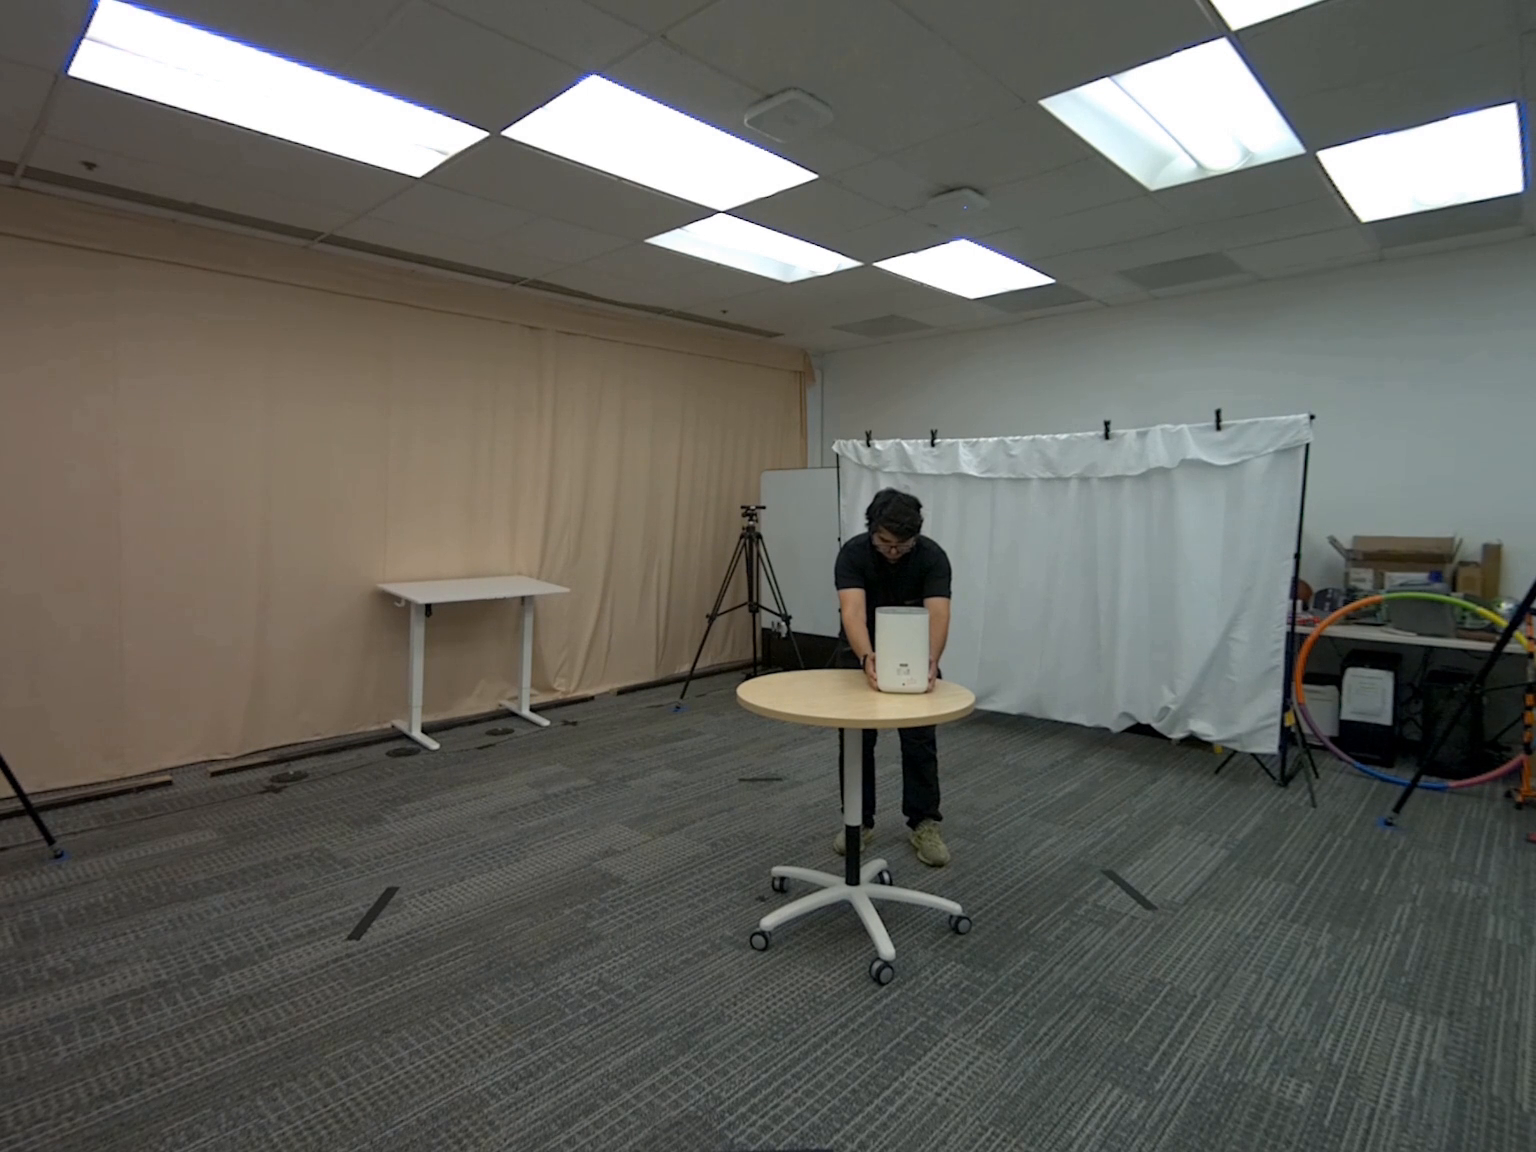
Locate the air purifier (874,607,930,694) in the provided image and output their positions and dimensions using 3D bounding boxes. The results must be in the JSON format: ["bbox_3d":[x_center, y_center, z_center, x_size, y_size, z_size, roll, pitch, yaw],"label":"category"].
[{"bbox_3d":[0.440,0.238,2.788,0.172,0.265,0.171,-1,3,3],"label":"air purifier"}]
